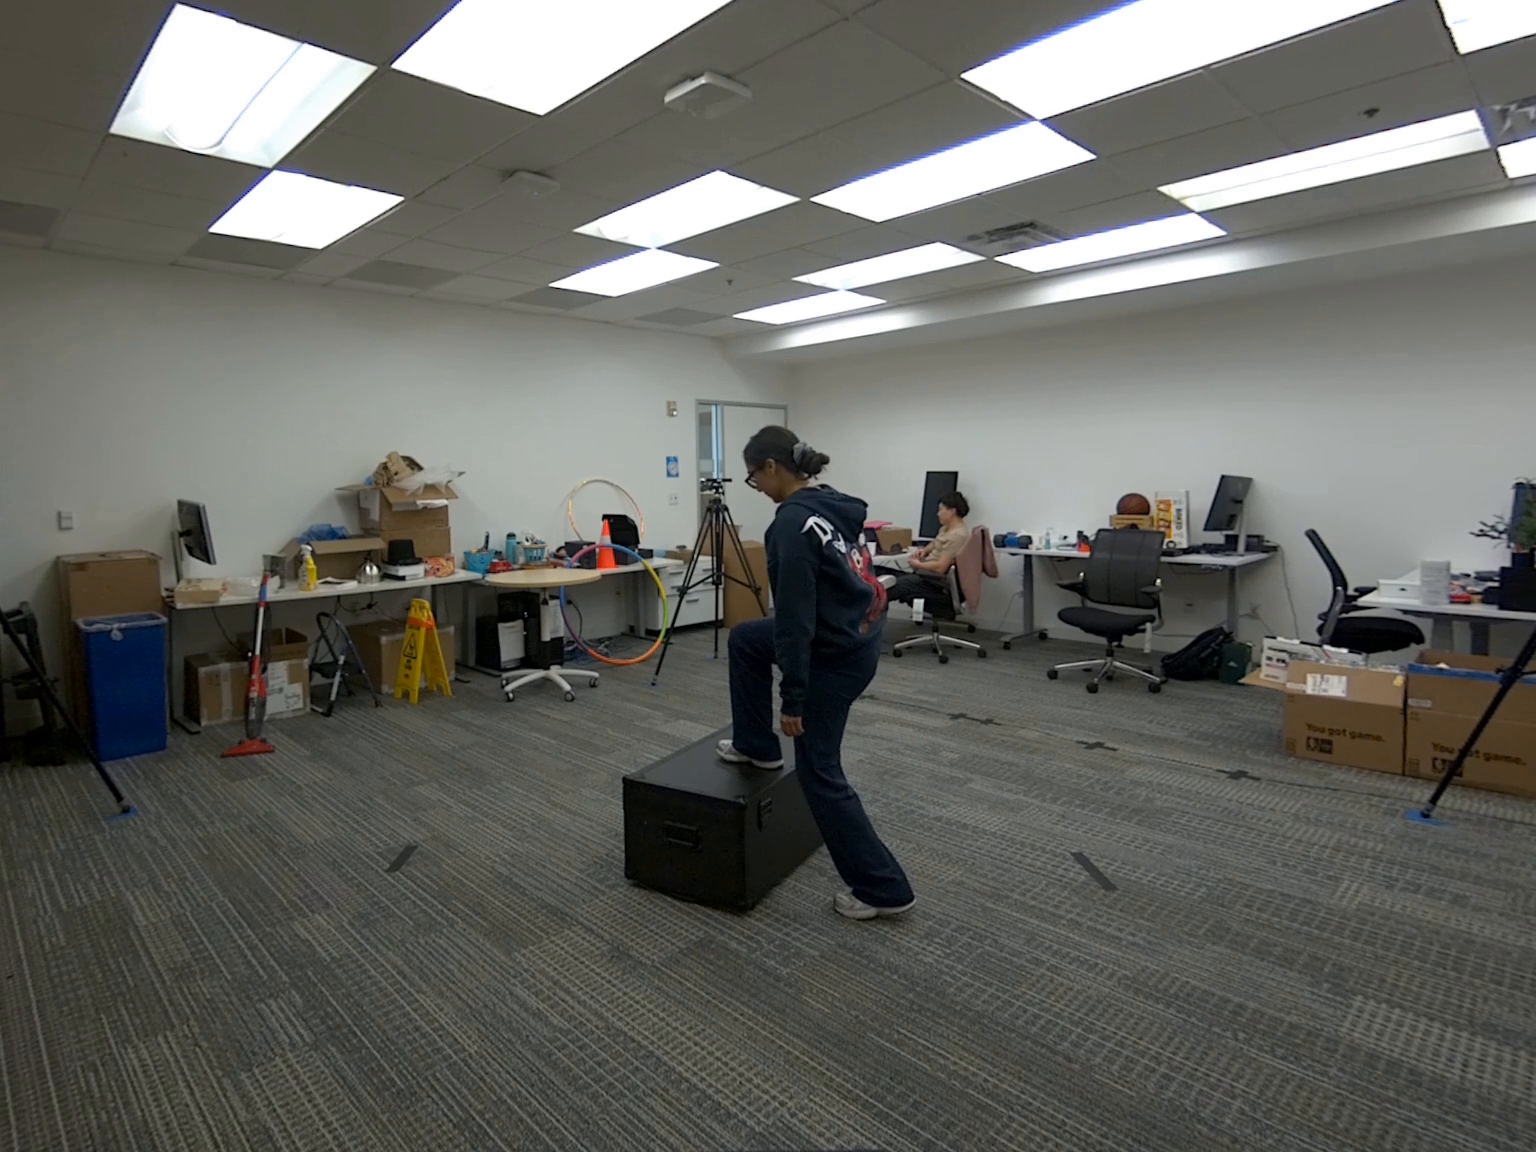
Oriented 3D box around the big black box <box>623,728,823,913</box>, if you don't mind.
[{"bbox_3d":[-0.087,0.847,3.184,0.535,0.394,0.844,2,7,28],"label":"big black box"}]
